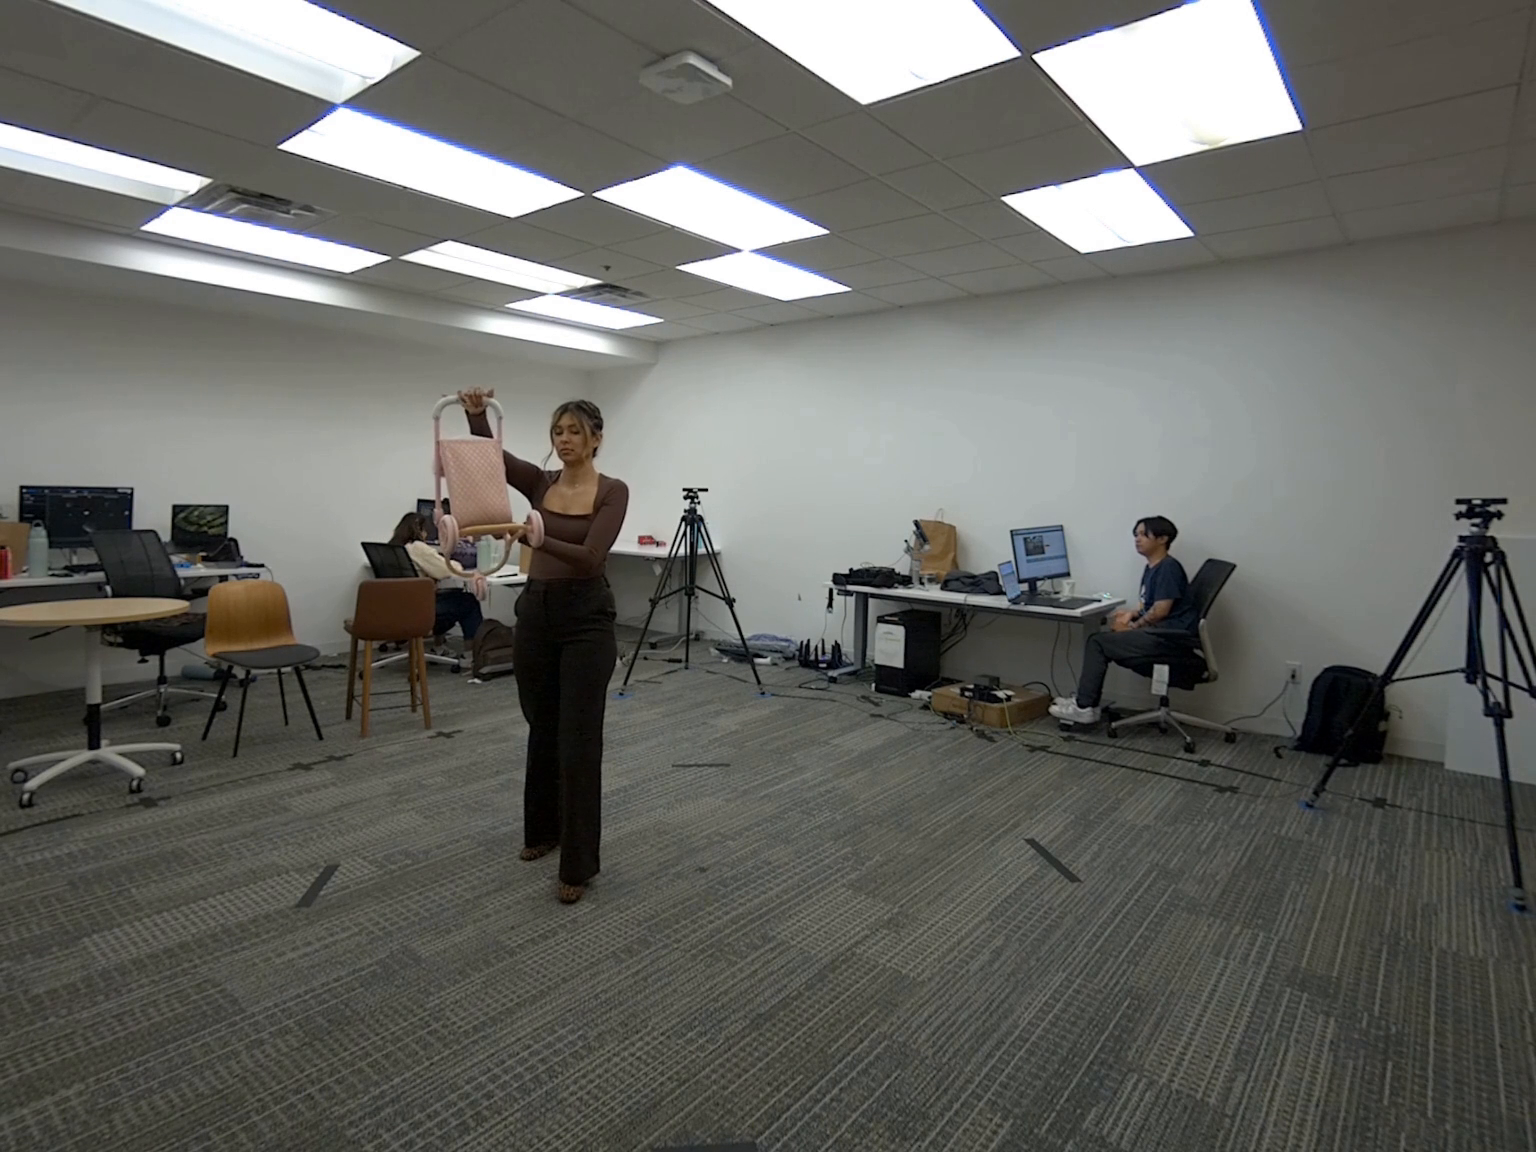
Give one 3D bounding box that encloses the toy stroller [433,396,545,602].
[{"bbox_3d":[-0.895,-0.225,2.560,0.275,0.548,0.341,-7,-22,-29],"label":"toy stroller"}]
